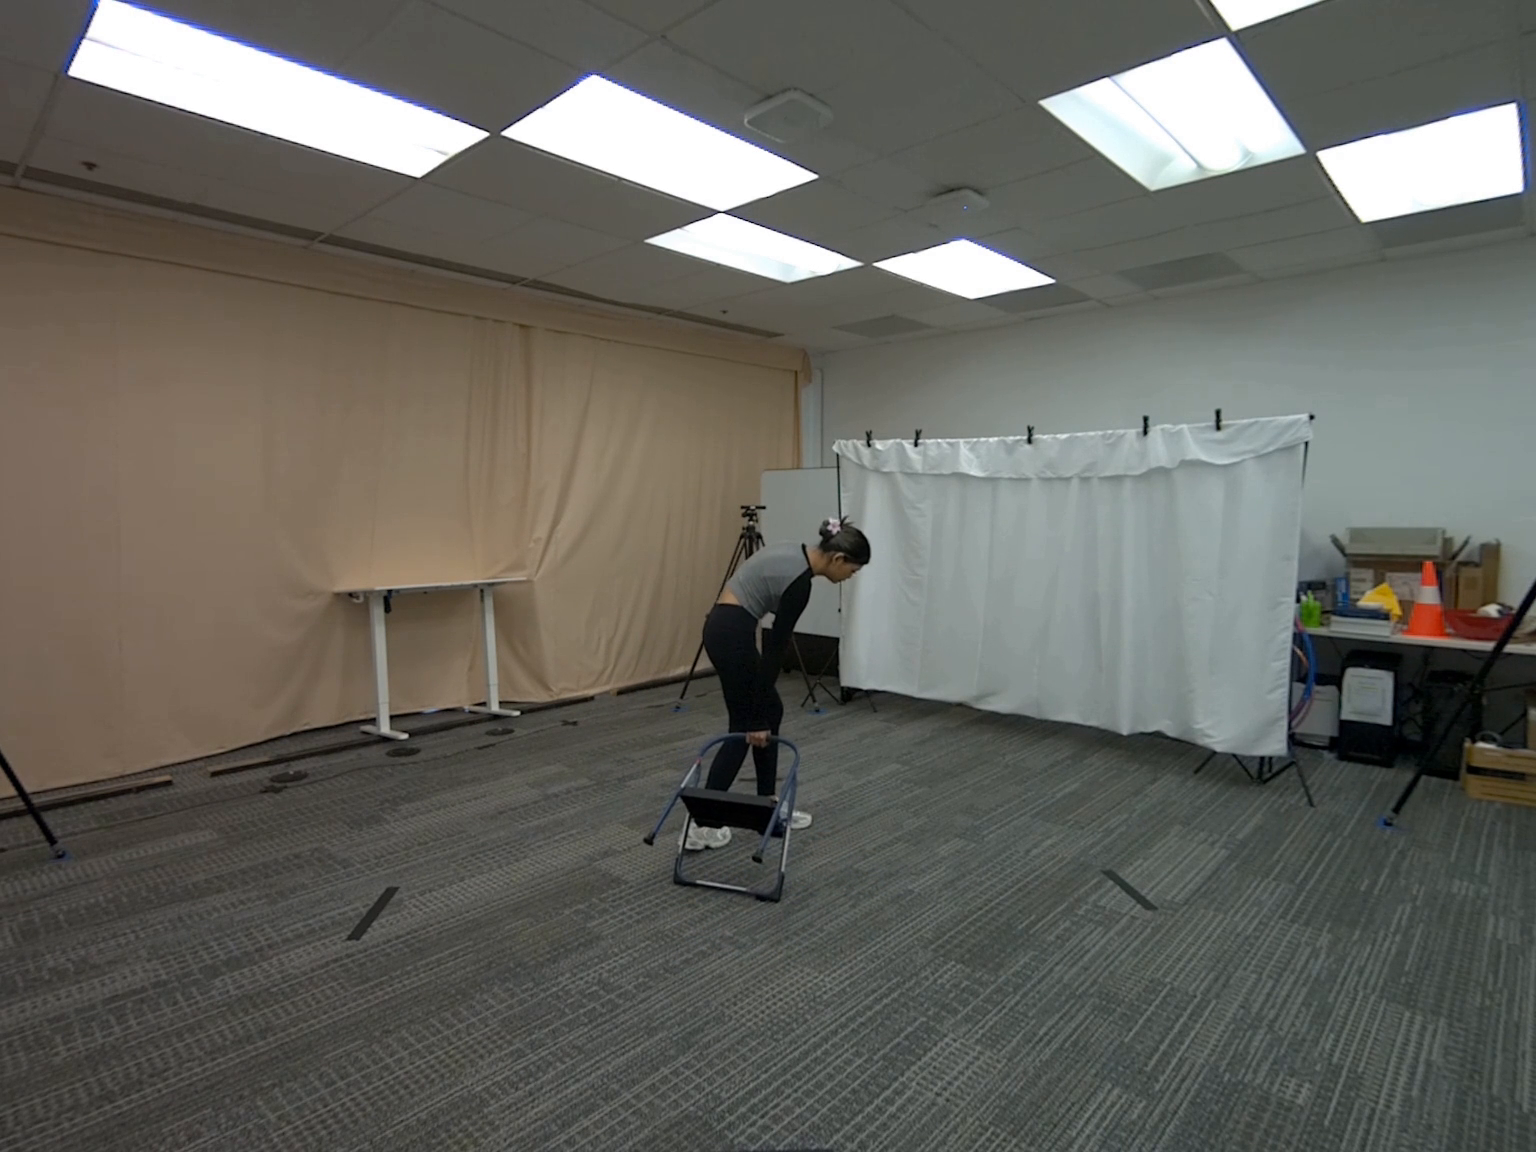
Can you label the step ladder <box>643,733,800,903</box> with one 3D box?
[{"bbox_3d":[-0.116,0.810,3.114,0.440,0.339,0.610,1,46,20],"label":"step ladder"}]
